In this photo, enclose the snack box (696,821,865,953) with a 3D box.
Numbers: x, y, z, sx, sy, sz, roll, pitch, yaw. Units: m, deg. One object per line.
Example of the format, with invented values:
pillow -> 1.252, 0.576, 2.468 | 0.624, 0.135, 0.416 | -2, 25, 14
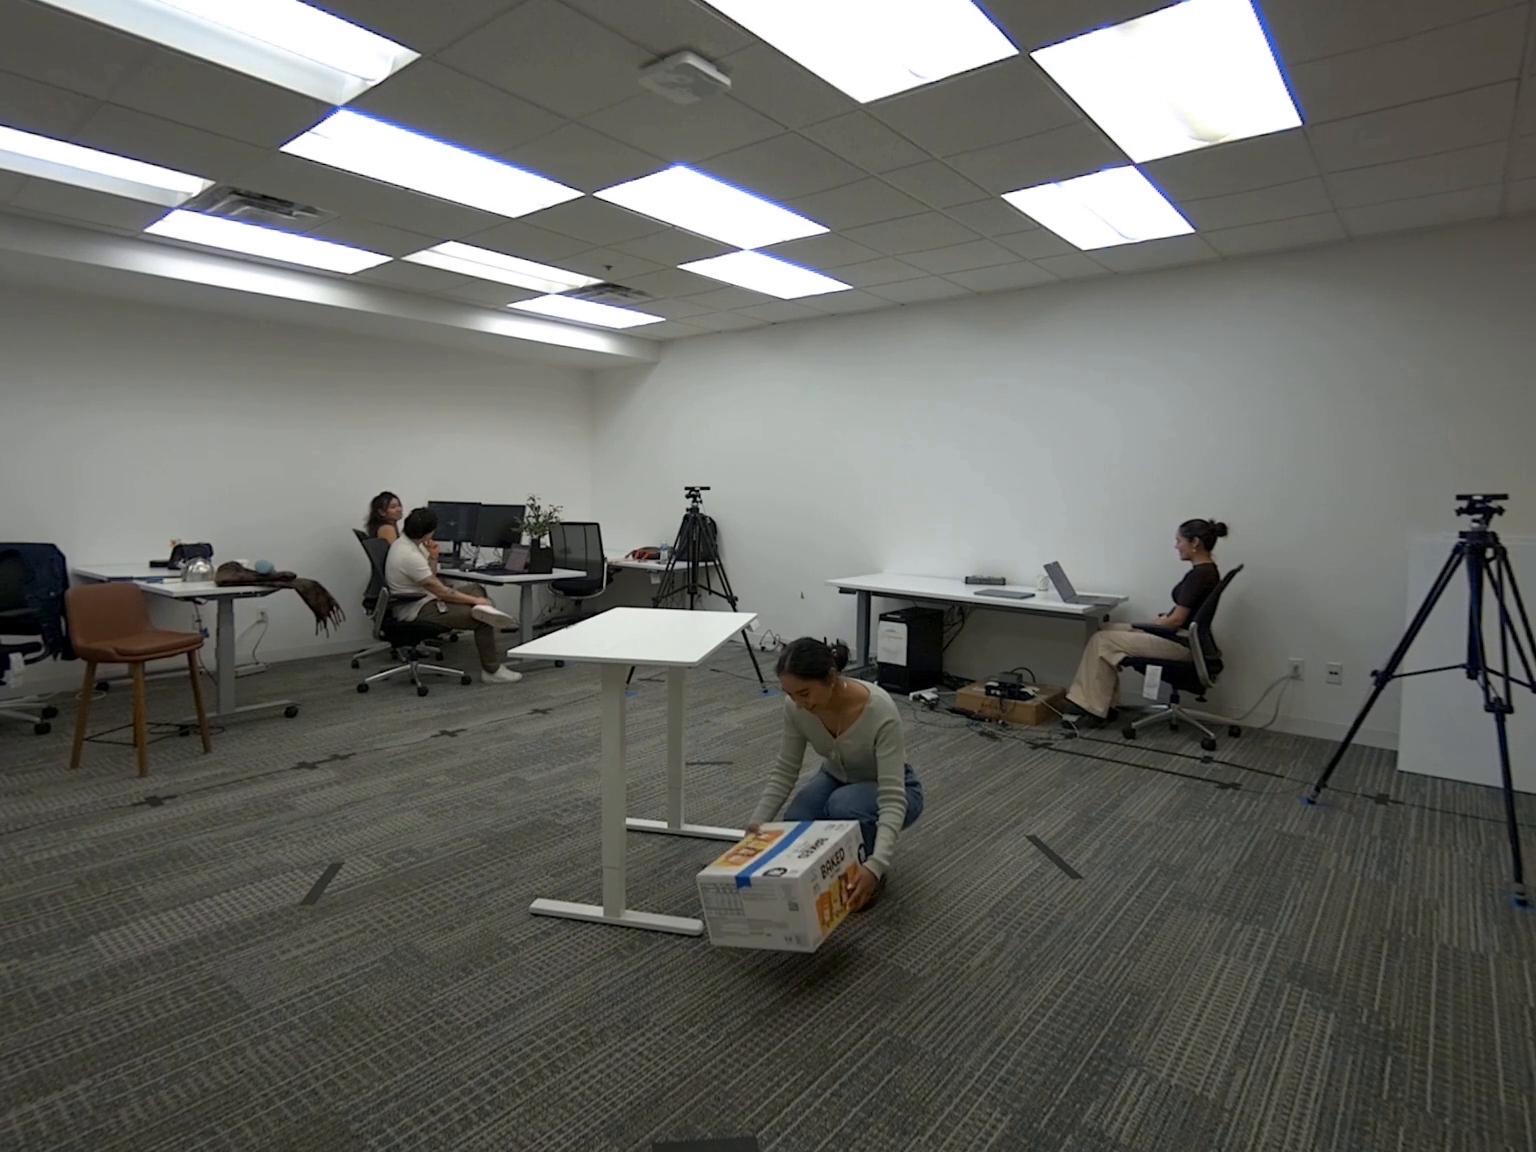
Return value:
snack box -> 0.051, 0.888, 2.487 | 0.348, 0.206, 0.396 | -13, 0, 32
